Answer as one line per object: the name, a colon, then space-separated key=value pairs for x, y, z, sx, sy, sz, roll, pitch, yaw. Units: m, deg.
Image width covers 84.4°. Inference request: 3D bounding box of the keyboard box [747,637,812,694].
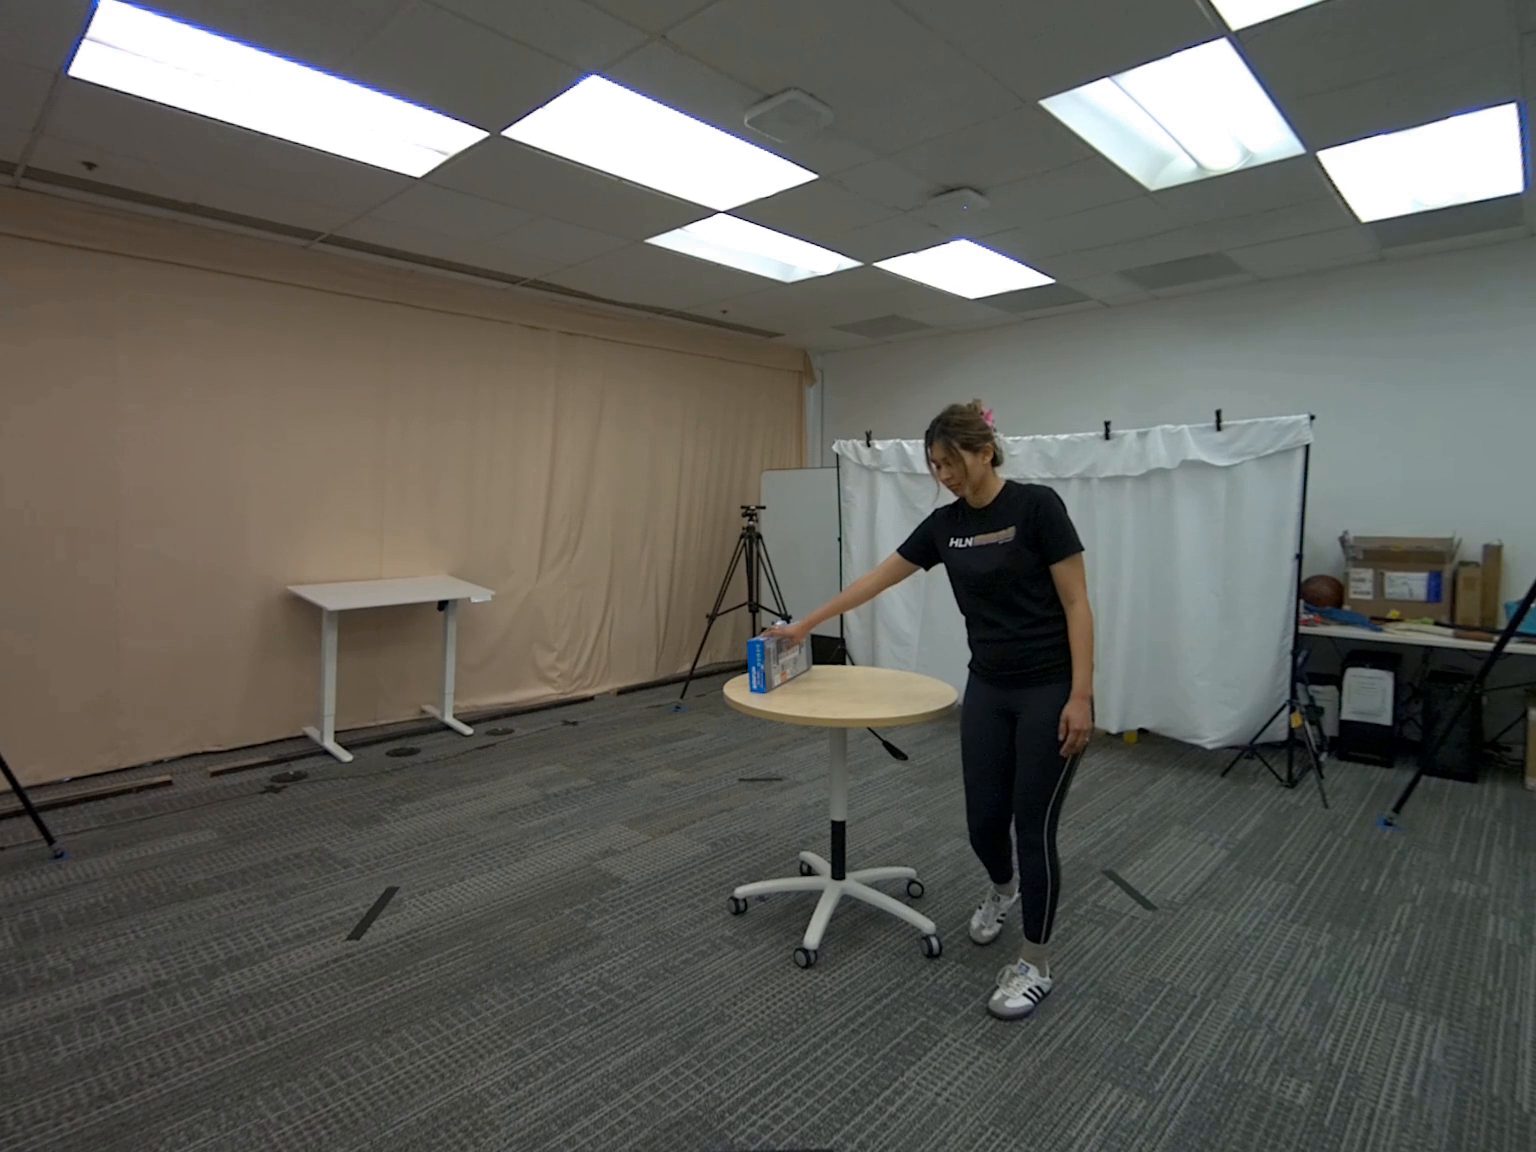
keyboard box: x=0.051 y=0.275 z=2.929 sx=0.060 sy=0.175 sz=0.427 roll=-1 pitch=5 yaw=23
